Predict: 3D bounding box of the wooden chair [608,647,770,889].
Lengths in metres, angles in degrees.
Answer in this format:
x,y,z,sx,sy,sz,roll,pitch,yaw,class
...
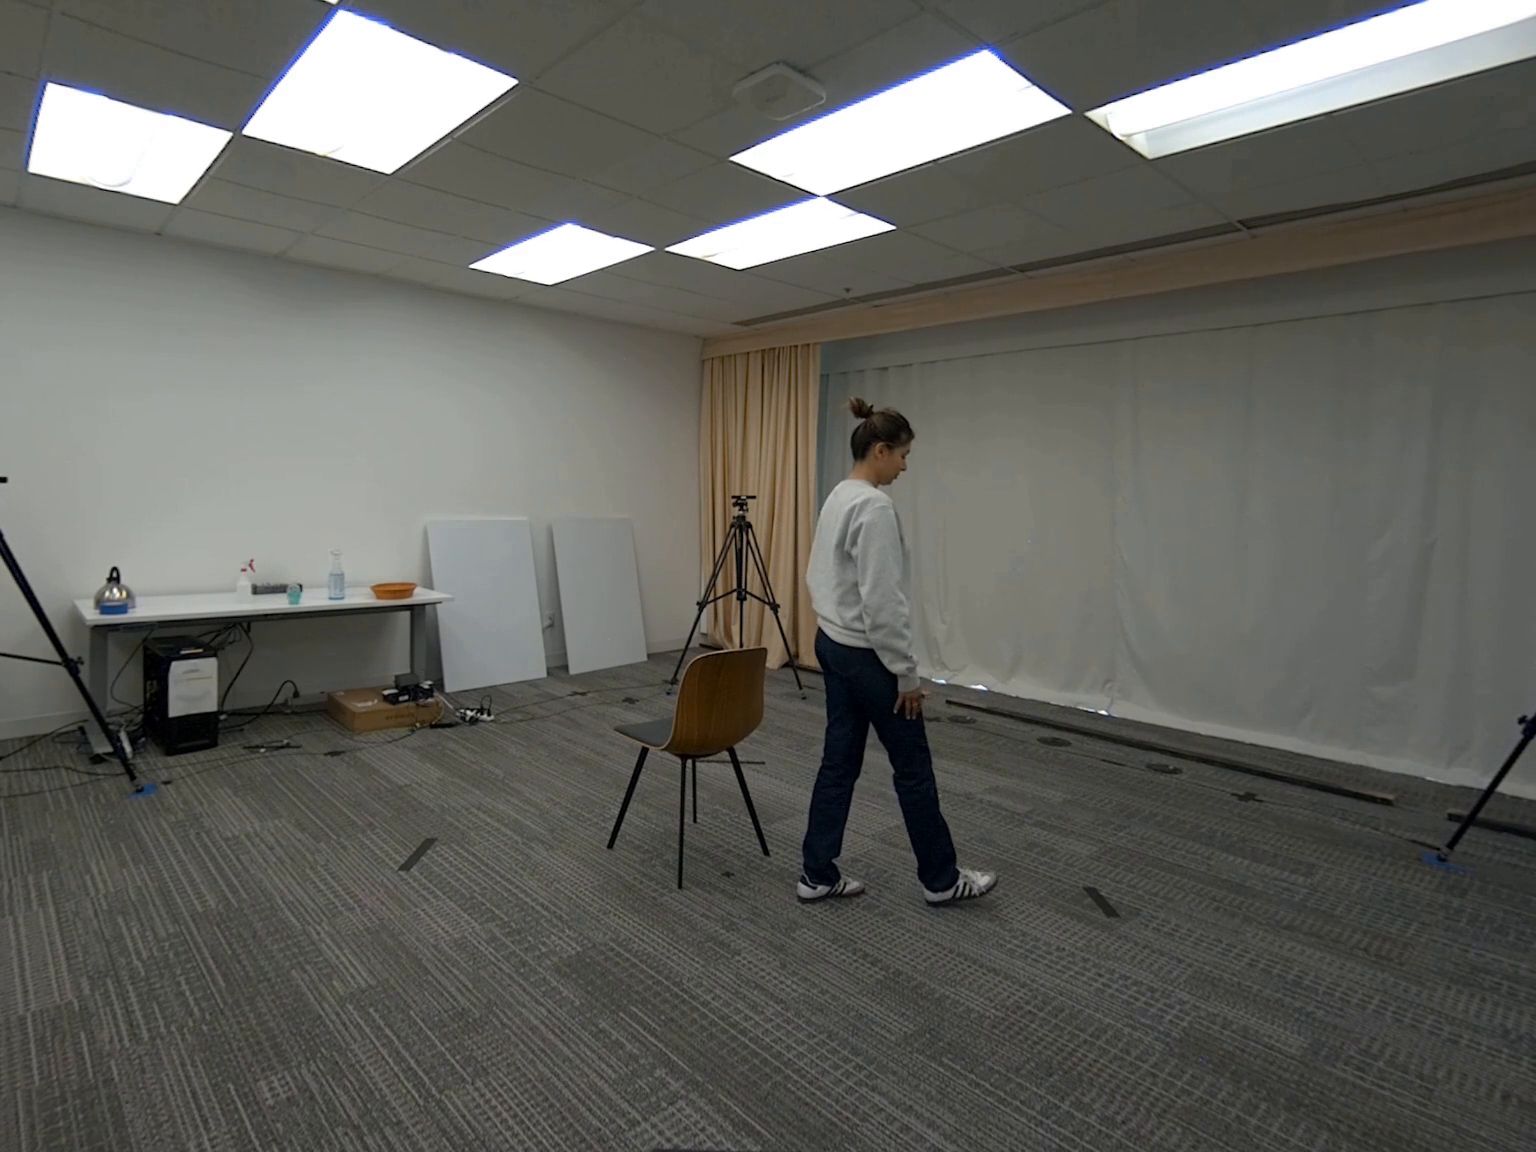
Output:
x,y,z,sx,sy,sz,roll,pitch,yaw,class
-0.312,0.657,3.266,0.467,0.873,0.537,-2,9,-43,wooden chair
